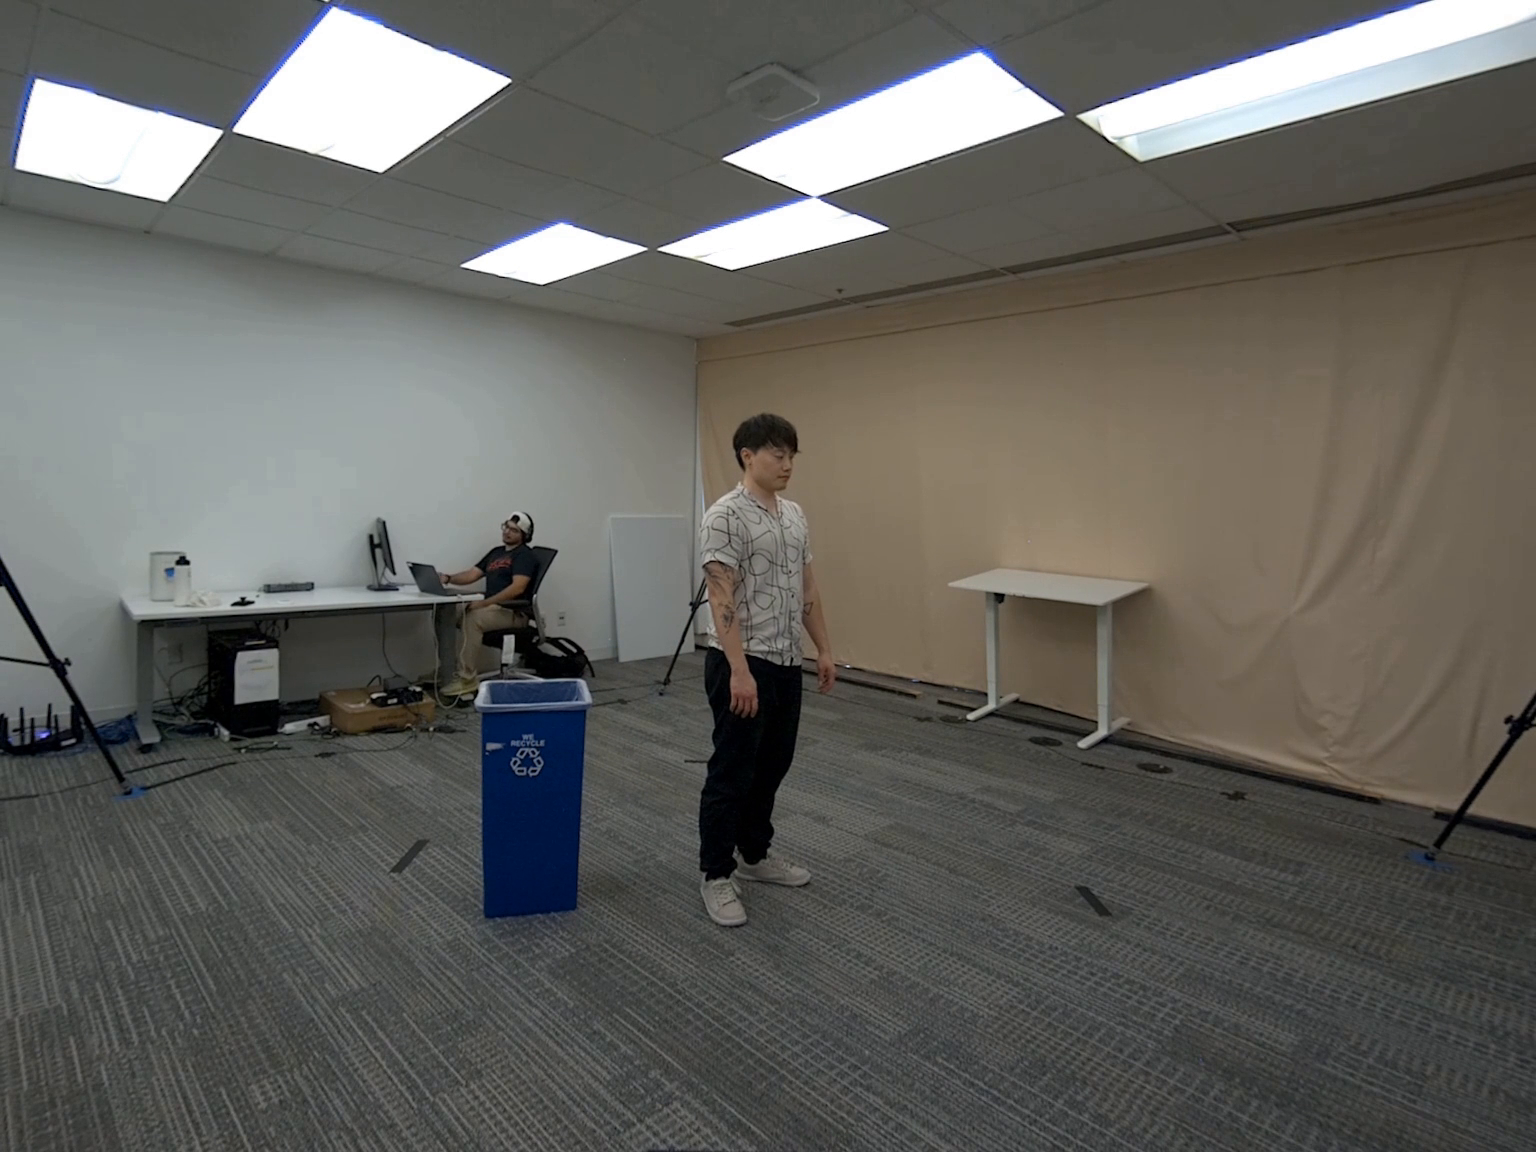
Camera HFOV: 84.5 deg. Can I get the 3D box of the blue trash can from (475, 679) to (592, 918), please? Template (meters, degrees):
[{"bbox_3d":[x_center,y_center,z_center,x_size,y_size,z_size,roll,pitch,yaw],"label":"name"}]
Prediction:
[{"bbox_3d":[-0.810,0.748,2.910,0.369,0.711,0.384,0,4,-16],"label":"blue trash can"}]
